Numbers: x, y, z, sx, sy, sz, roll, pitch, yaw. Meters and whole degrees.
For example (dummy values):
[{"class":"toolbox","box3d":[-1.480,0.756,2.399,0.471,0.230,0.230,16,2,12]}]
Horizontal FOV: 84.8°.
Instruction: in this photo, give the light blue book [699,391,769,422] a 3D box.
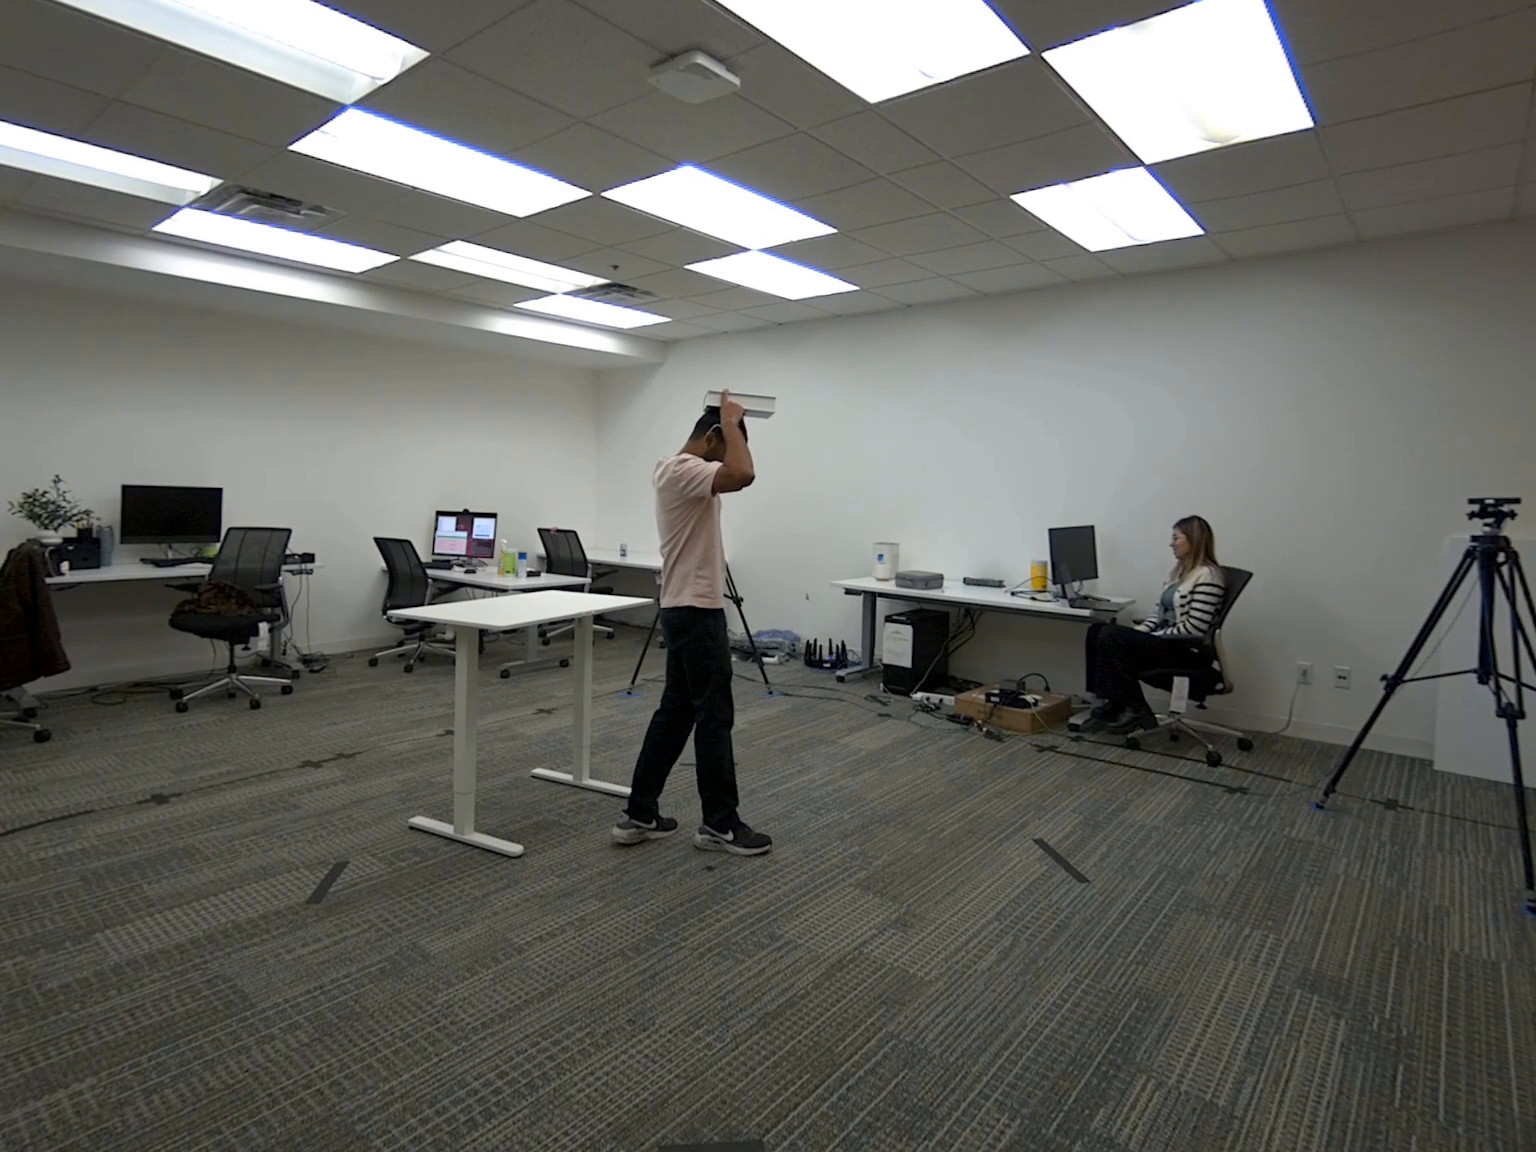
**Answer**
[{"class":"light blue book","box3d":[-0.135,-0.663,3.288,0.261,0.059,0.191,5,-1,1]}]
